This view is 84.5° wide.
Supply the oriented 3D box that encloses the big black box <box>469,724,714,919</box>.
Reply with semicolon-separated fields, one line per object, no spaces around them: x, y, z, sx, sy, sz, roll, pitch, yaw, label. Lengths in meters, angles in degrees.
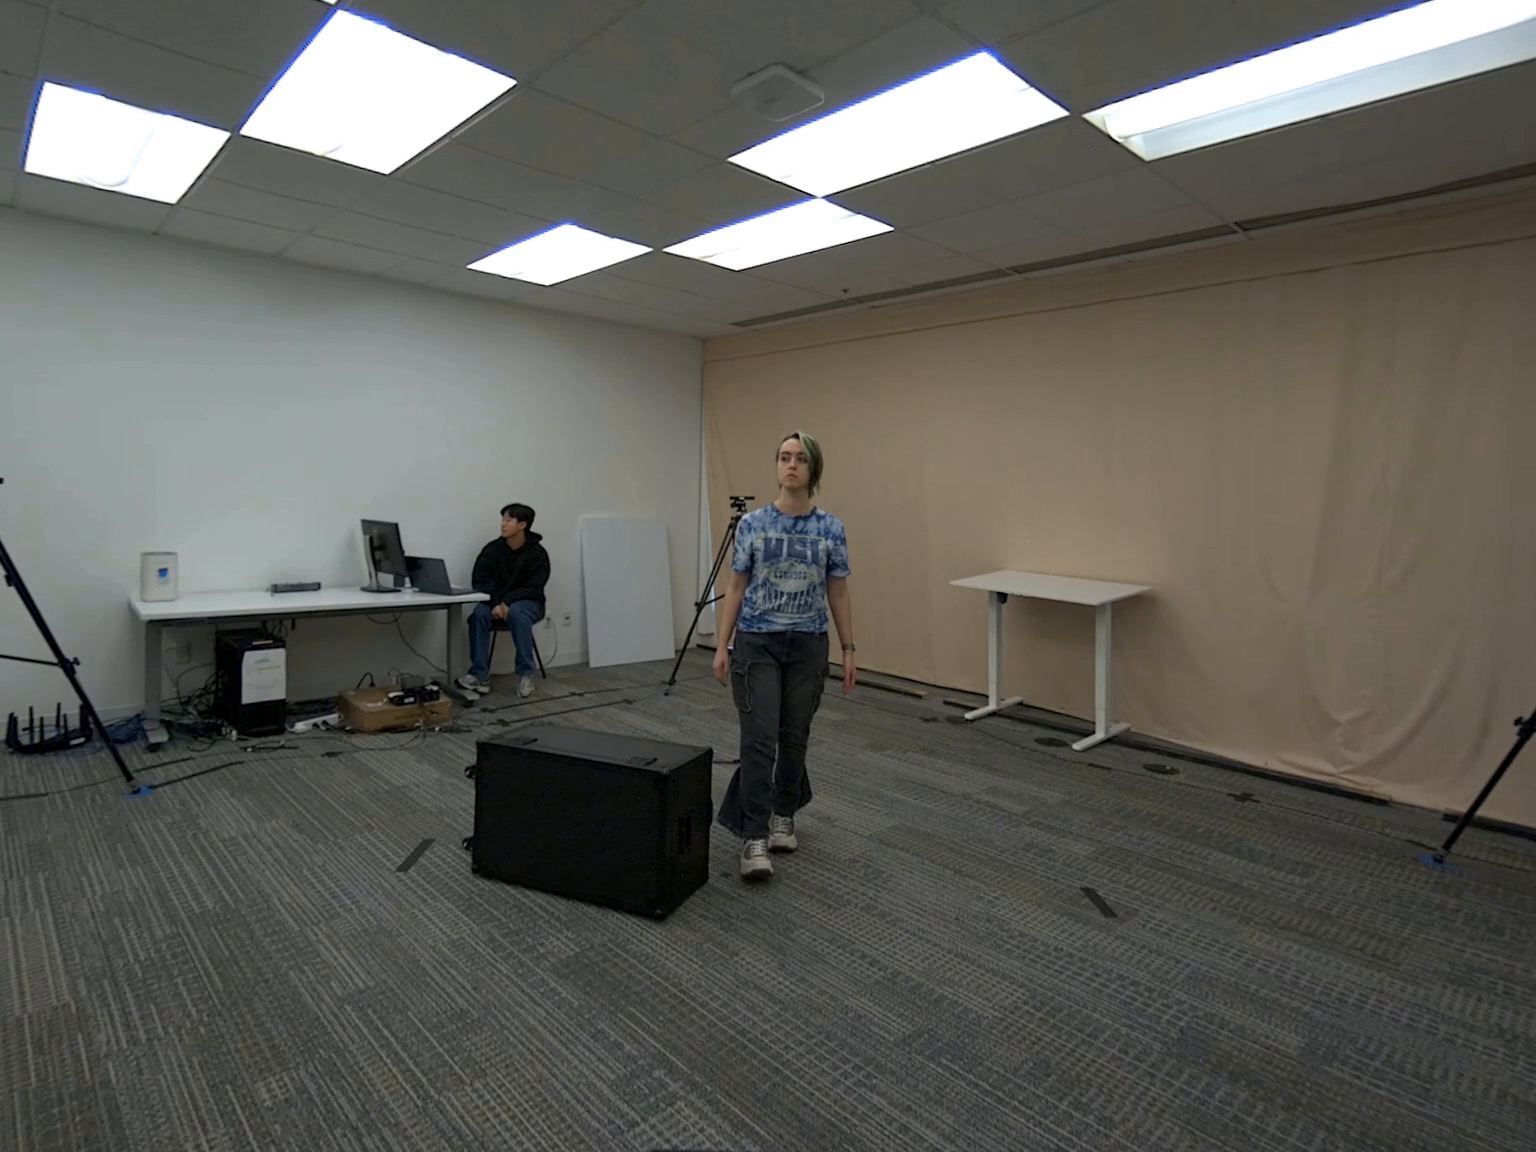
-0.664;0.842;3.066;0.877;0.521;0.389;4;2;23;big black box
